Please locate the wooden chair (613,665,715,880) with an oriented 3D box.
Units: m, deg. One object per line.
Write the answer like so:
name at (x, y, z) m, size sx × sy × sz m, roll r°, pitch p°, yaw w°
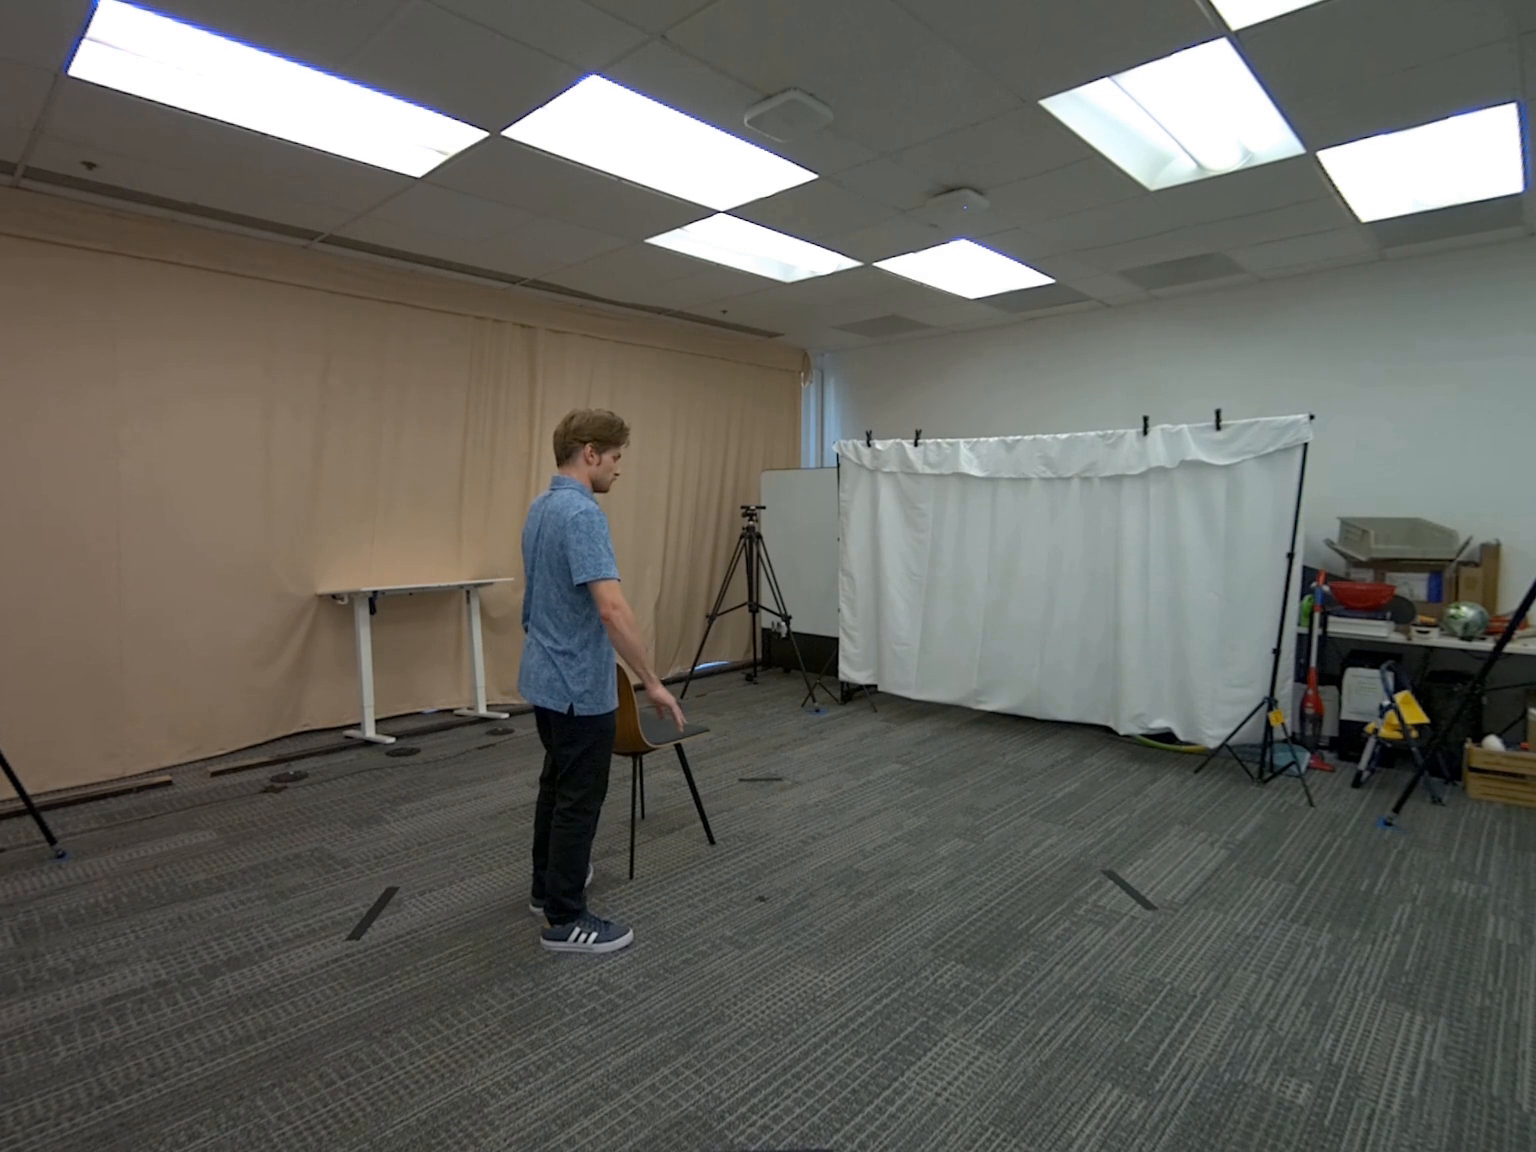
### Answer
wooden chair at (-0.531, 0.682, 3.433) m, size 0.494 × 0.874 × 0.508 m, roll 2°, pitch 8°, yaw 42°
